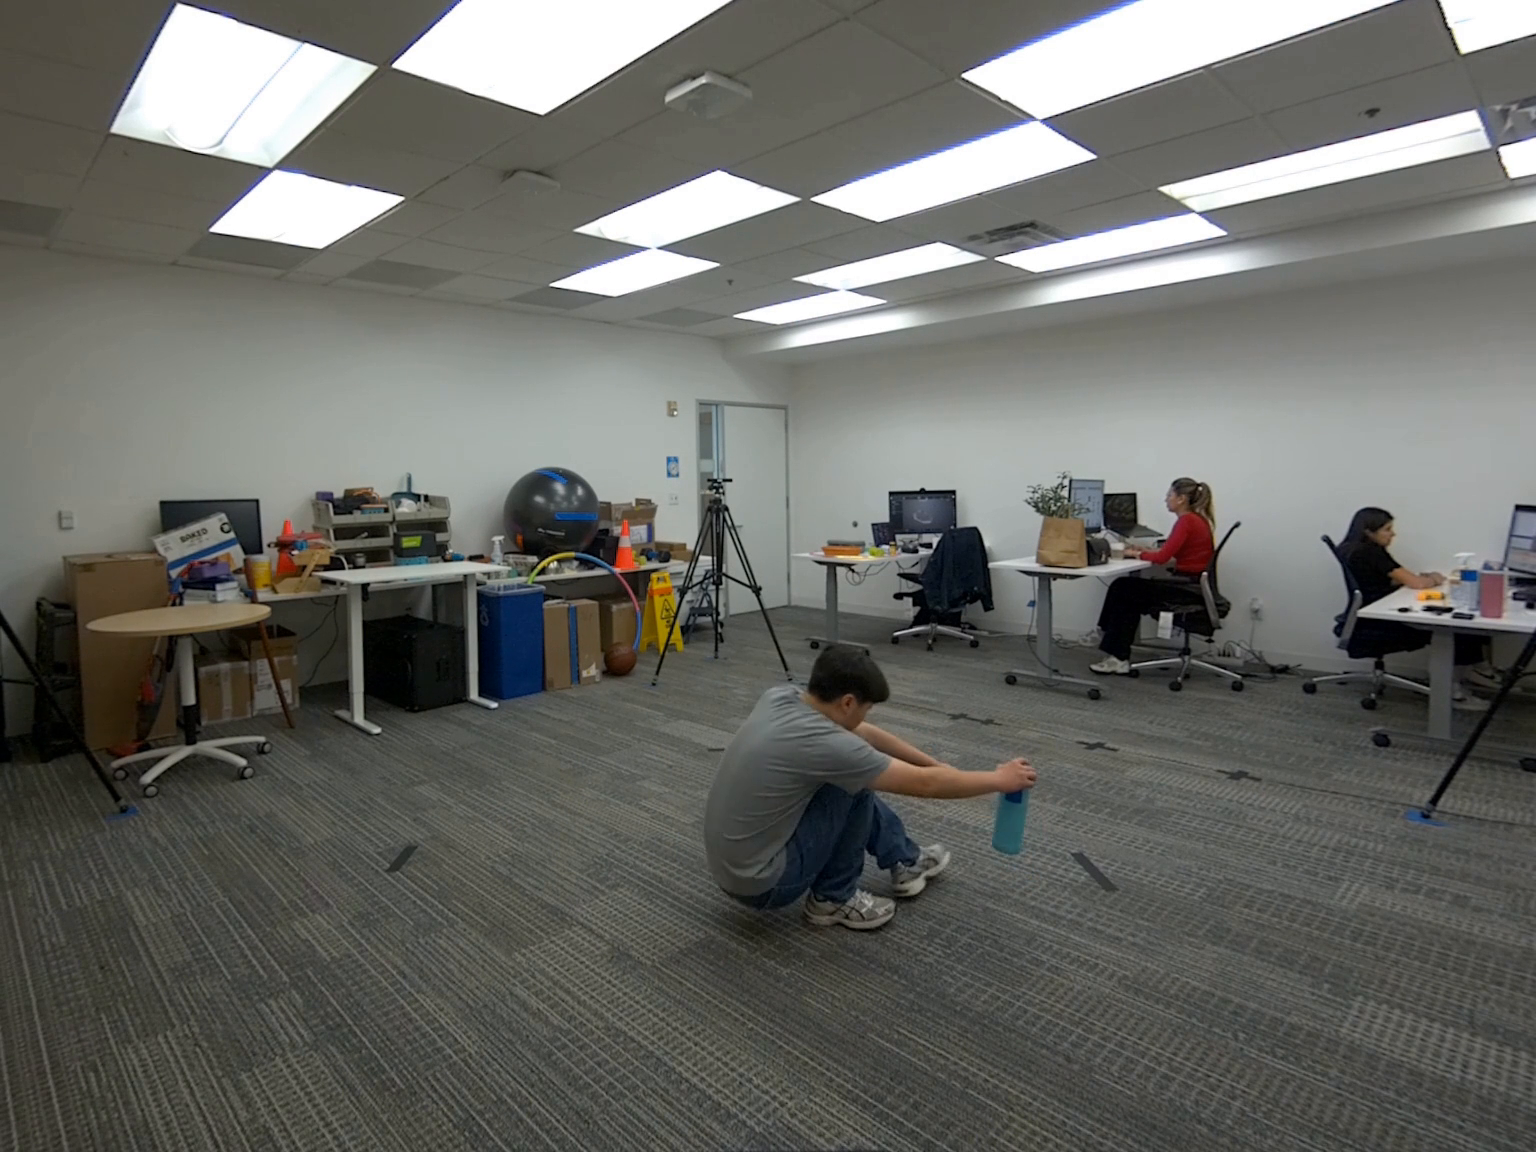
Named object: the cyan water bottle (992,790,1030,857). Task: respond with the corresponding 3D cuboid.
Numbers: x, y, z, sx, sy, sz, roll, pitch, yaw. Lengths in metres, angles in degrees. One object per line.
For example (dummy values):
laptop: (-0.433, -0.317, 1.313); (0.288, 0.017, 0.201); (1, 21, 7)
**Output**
cyan water bottle: (0.743, 0.701, 2.647); (0.092, 0.280, 0.094); (4, 16, -3)
